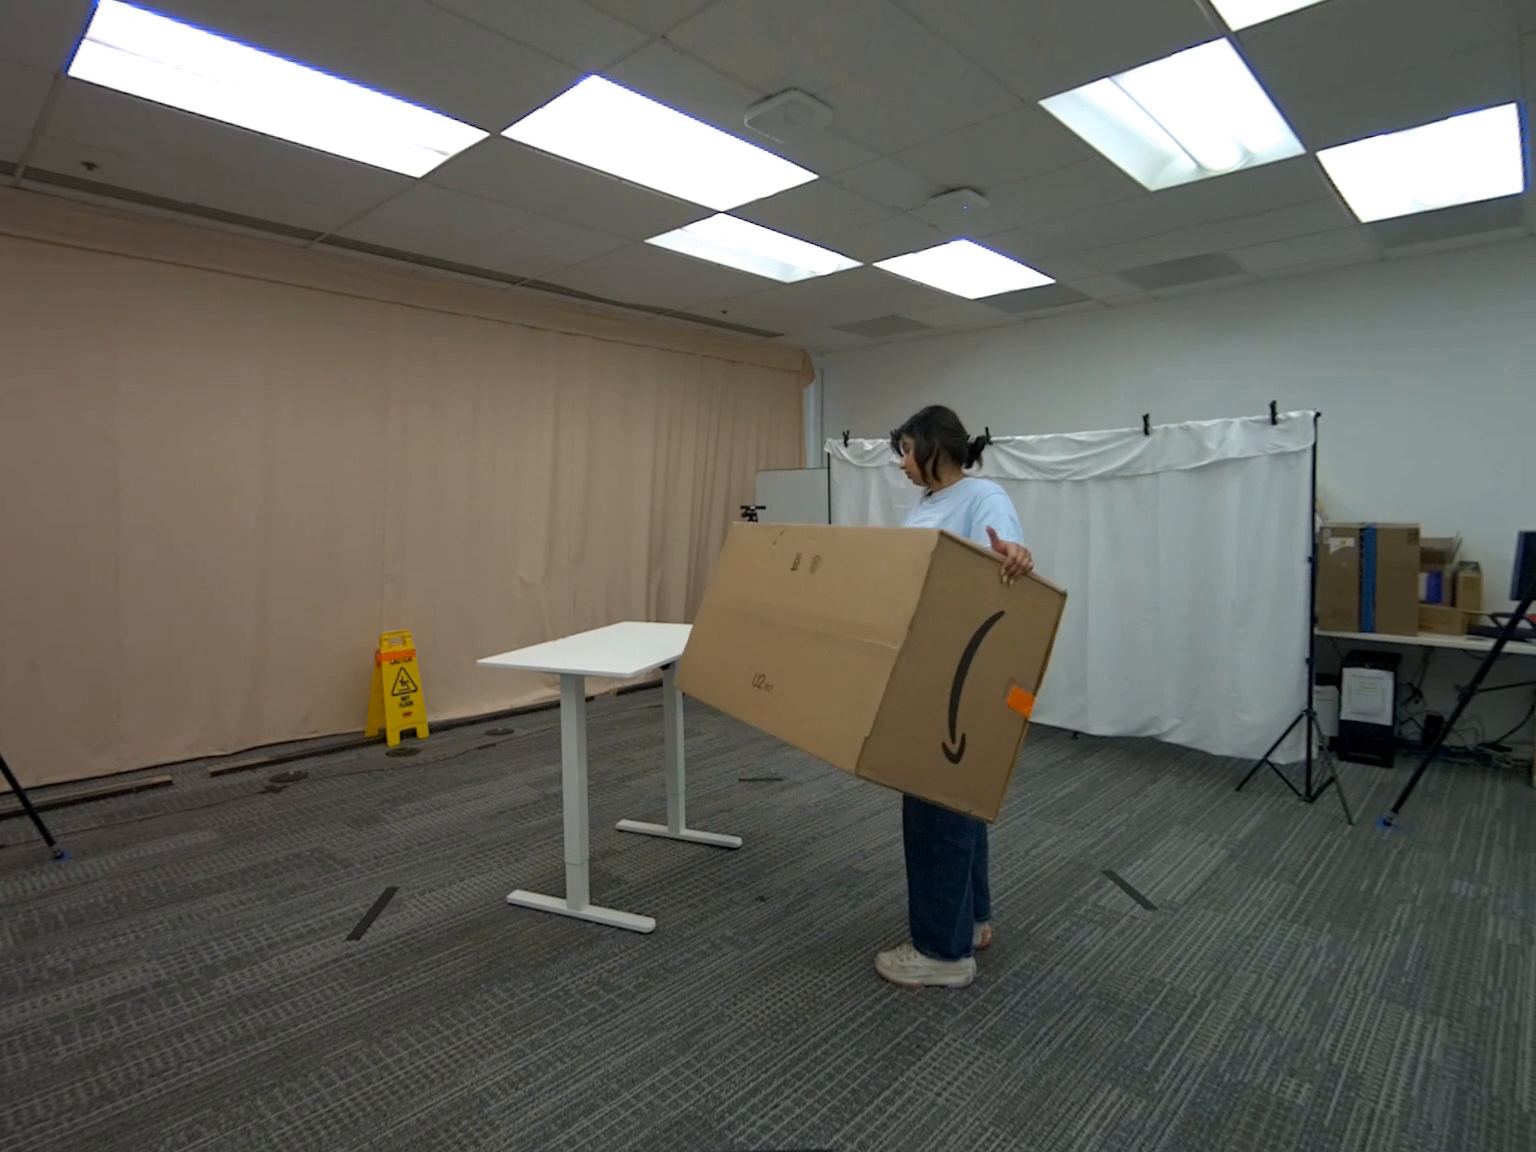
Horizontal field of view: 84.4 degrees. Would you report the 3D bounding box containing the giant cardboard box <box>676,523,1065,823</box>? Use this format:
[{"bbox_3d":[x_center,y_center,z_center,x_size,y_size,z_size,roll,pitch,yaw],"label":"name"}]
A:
[{"bbox_3d":[0.211,0.197,2.362,0.414,0.578,1.054,25,-8,-27],"label":"giant cardboard box"}]
